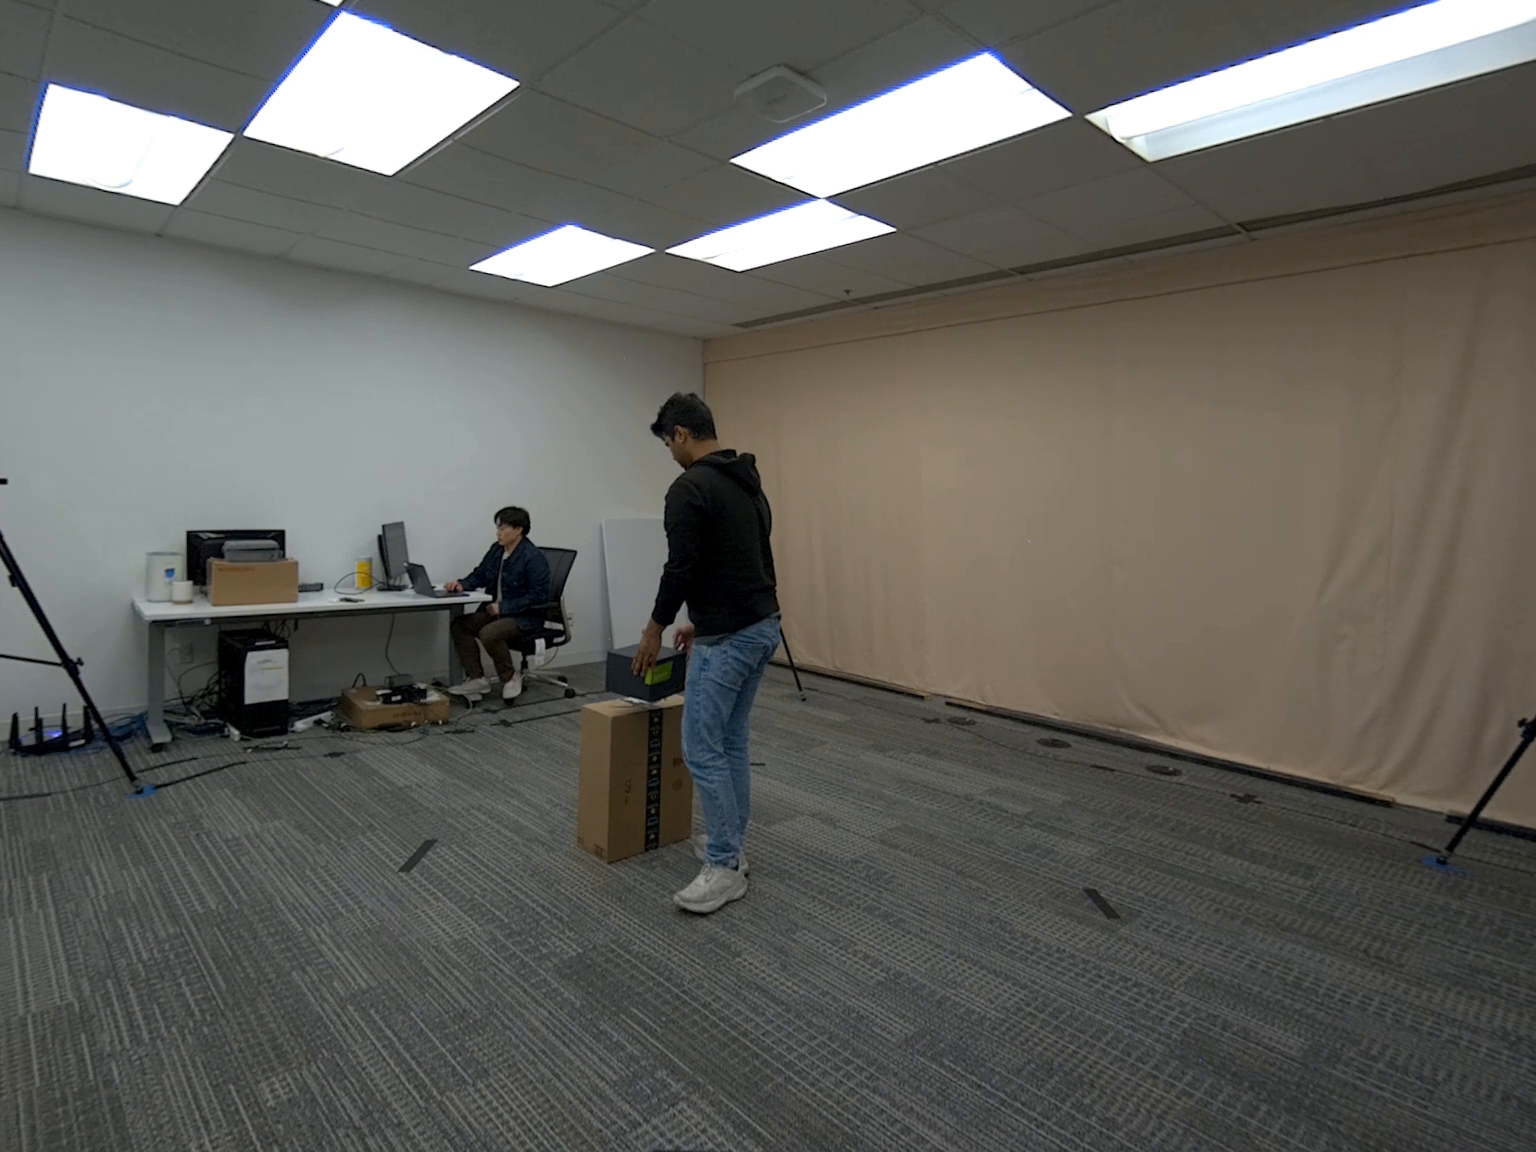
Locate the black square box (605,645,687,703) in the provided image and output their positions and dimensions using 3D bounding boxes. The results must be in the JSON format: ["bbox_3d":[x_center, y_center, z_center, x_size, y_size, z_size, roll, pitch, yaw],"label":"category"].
[{"bbox_3d":[-0.466,0.367,3.217,0.222,0.155,0.224,9,9,28],"label":"black square box"}]
